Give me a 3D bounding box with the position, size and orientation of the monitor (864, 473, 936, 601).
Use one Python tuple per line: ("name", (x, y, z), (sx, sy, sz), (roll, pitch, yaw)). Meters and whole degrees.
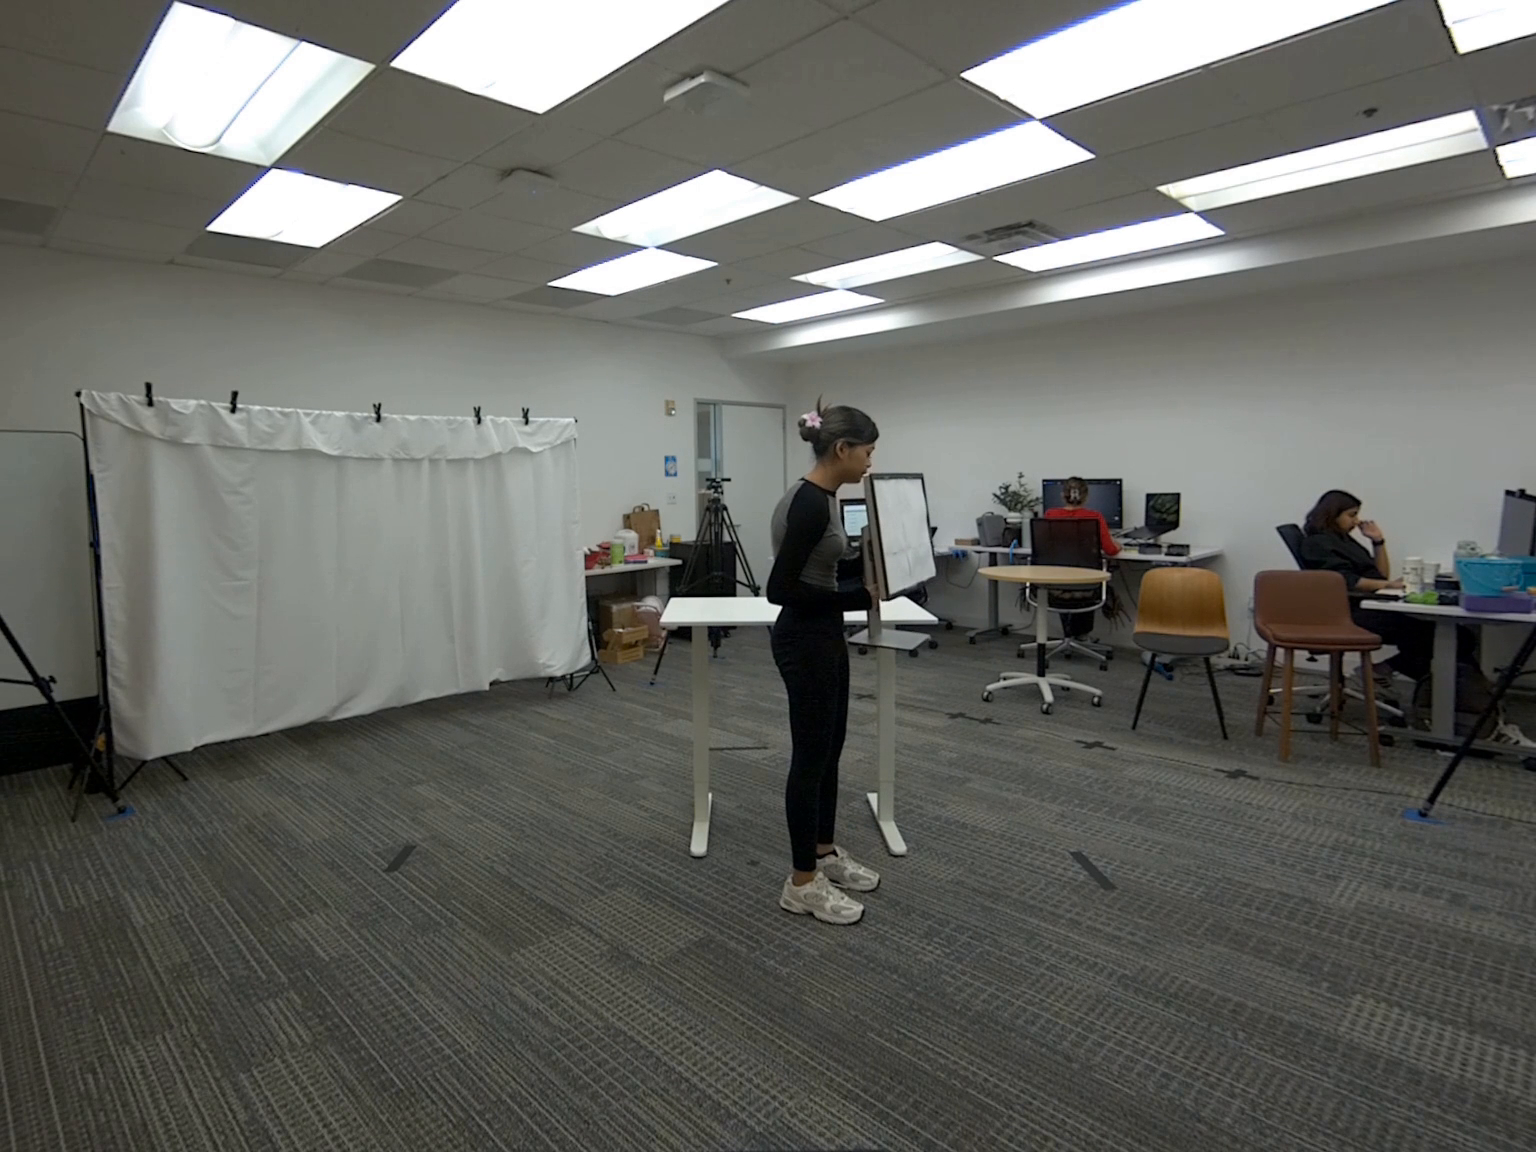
("monitor", (0.382, -0.052, 2.662), (0.192, 0.520, 0.528), (5, 7, 25))
